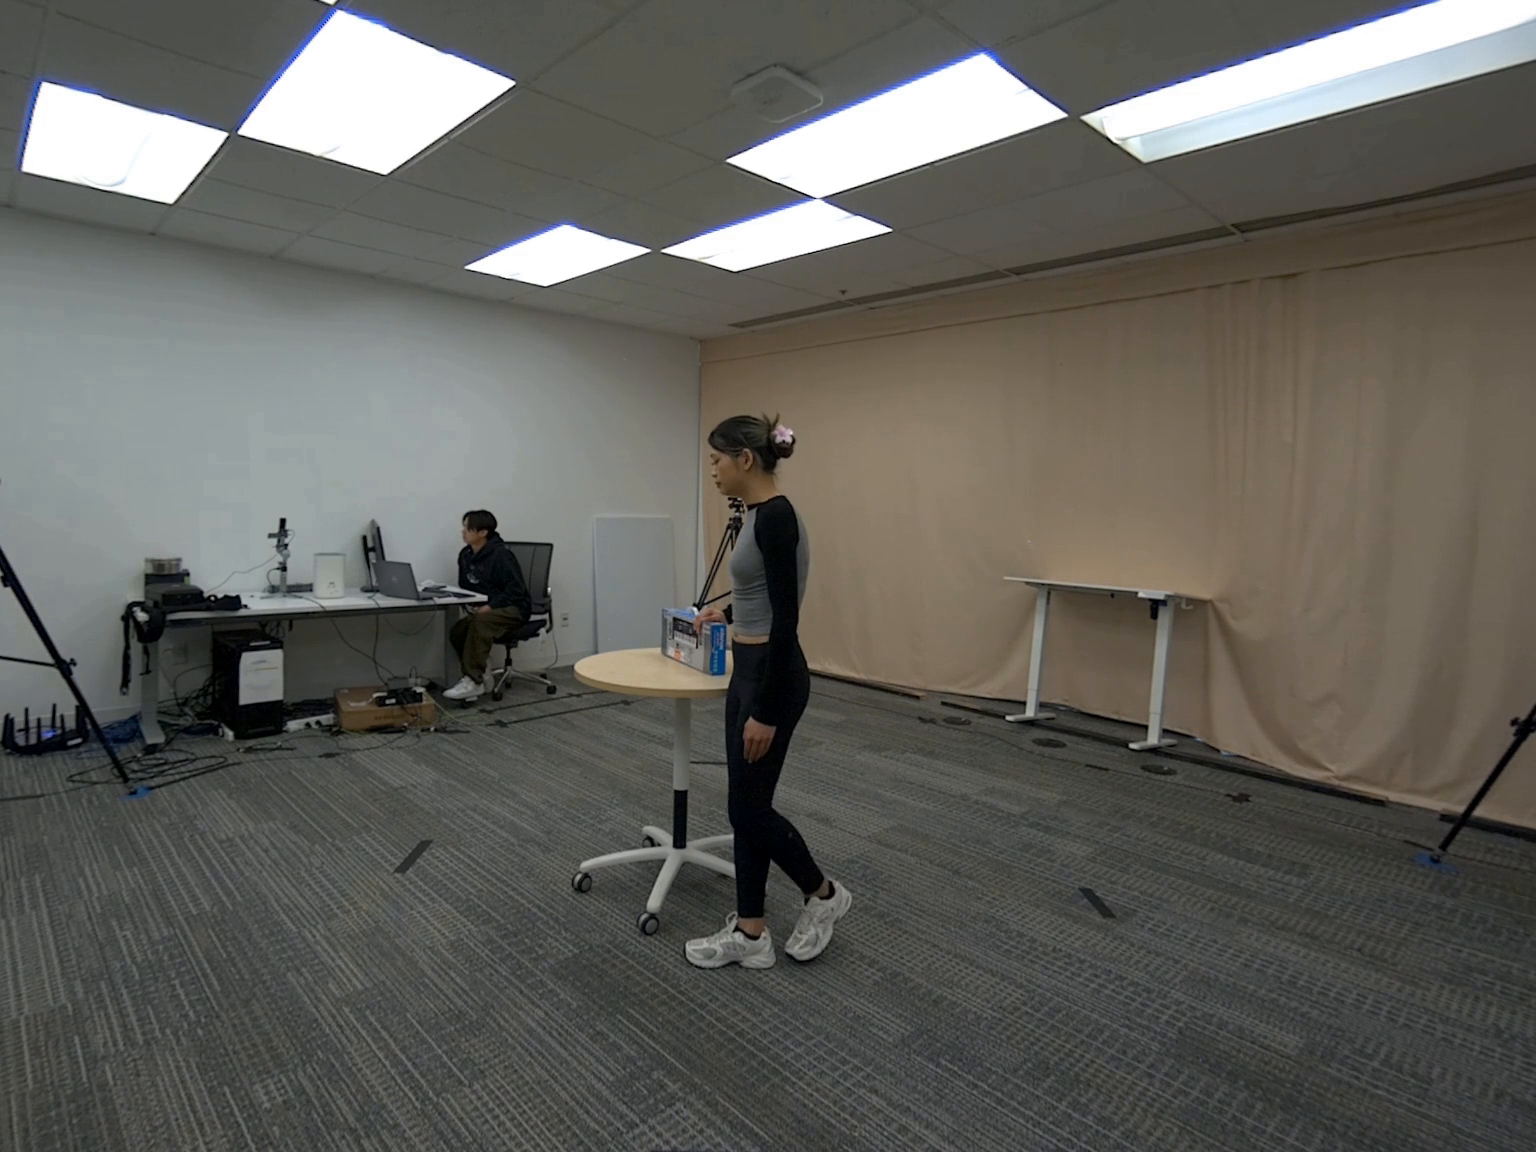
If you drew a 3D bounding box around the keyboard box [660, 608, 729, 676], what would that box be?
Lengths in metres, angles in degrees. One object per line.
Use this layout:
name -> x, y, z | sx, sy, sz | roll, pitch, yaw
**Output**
keyboard box -> -0.279, 0.233, 3.032 | 0.058, 0.175, 0.447 | 1, 5, -29
